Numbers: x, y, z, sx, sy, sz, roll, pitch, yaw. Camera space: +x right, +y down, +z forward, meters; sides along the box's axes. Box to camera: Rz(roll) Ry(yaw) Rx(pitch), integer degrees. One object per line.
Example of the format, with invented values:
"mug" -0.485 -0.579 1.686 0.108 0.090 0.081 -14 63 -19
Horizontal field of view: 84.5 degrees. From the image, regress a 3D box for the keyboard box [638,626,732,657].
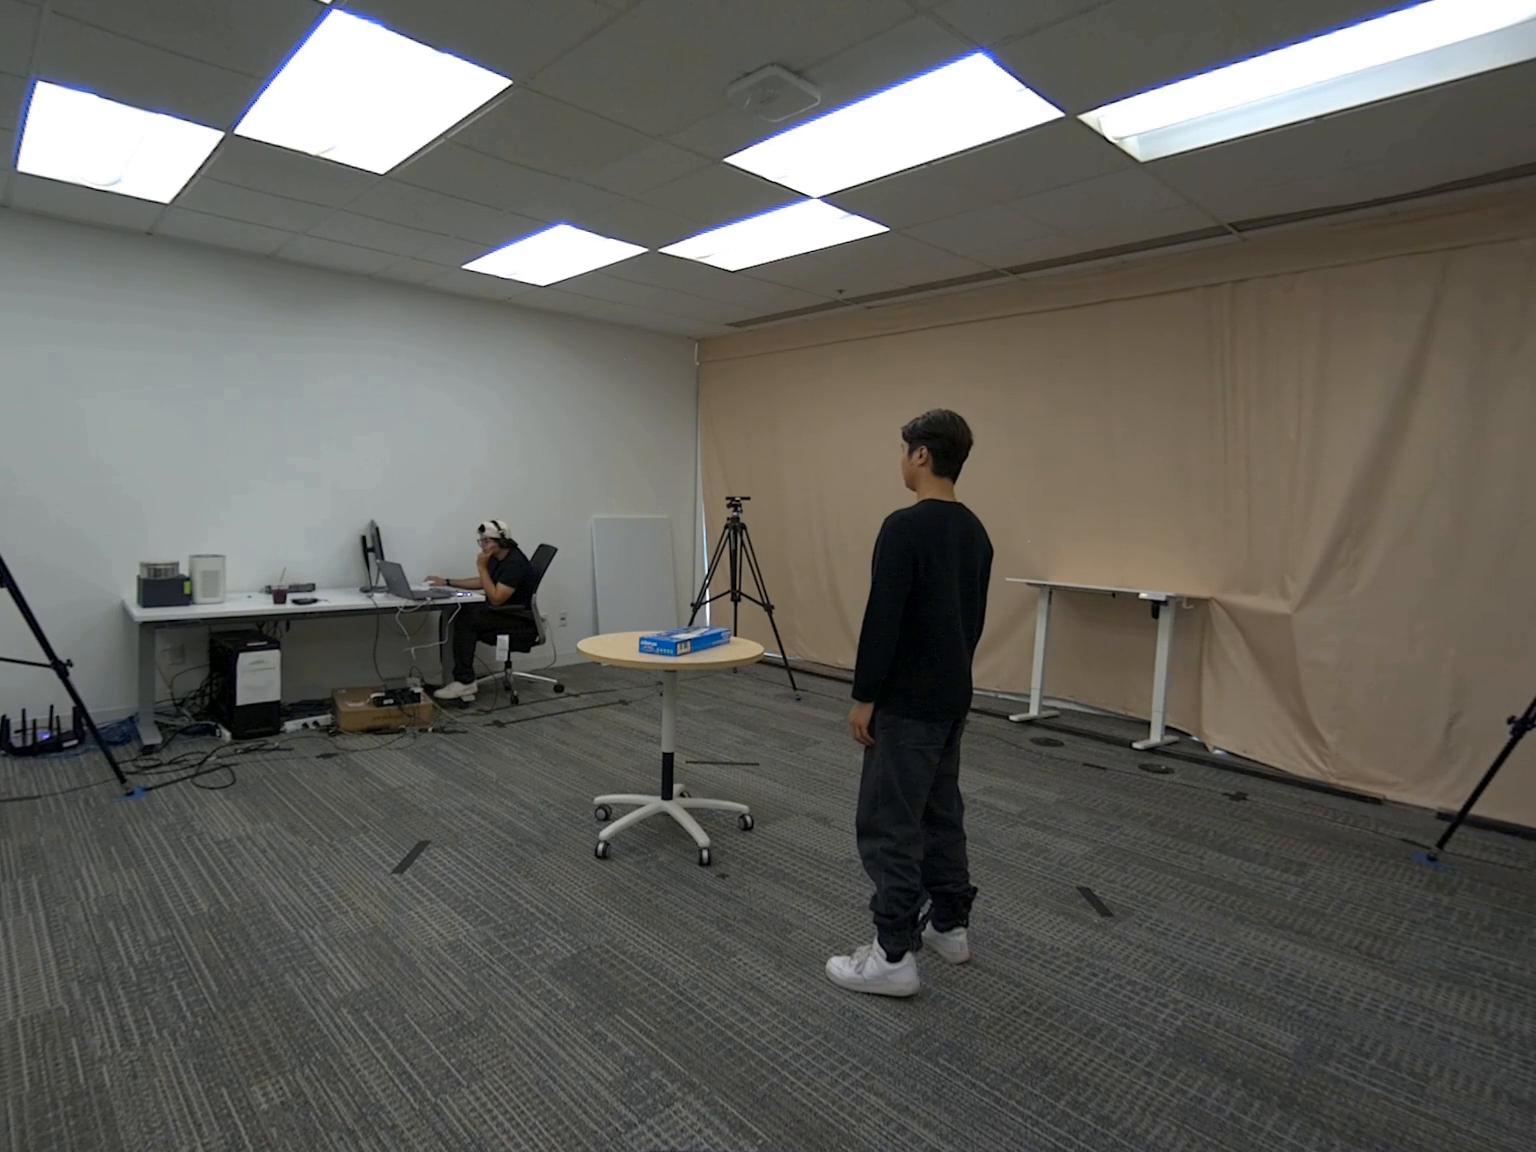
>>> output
"keyboard box" -0.336 0.260 3.429 0.179 0.059 0.429 4 5 26
